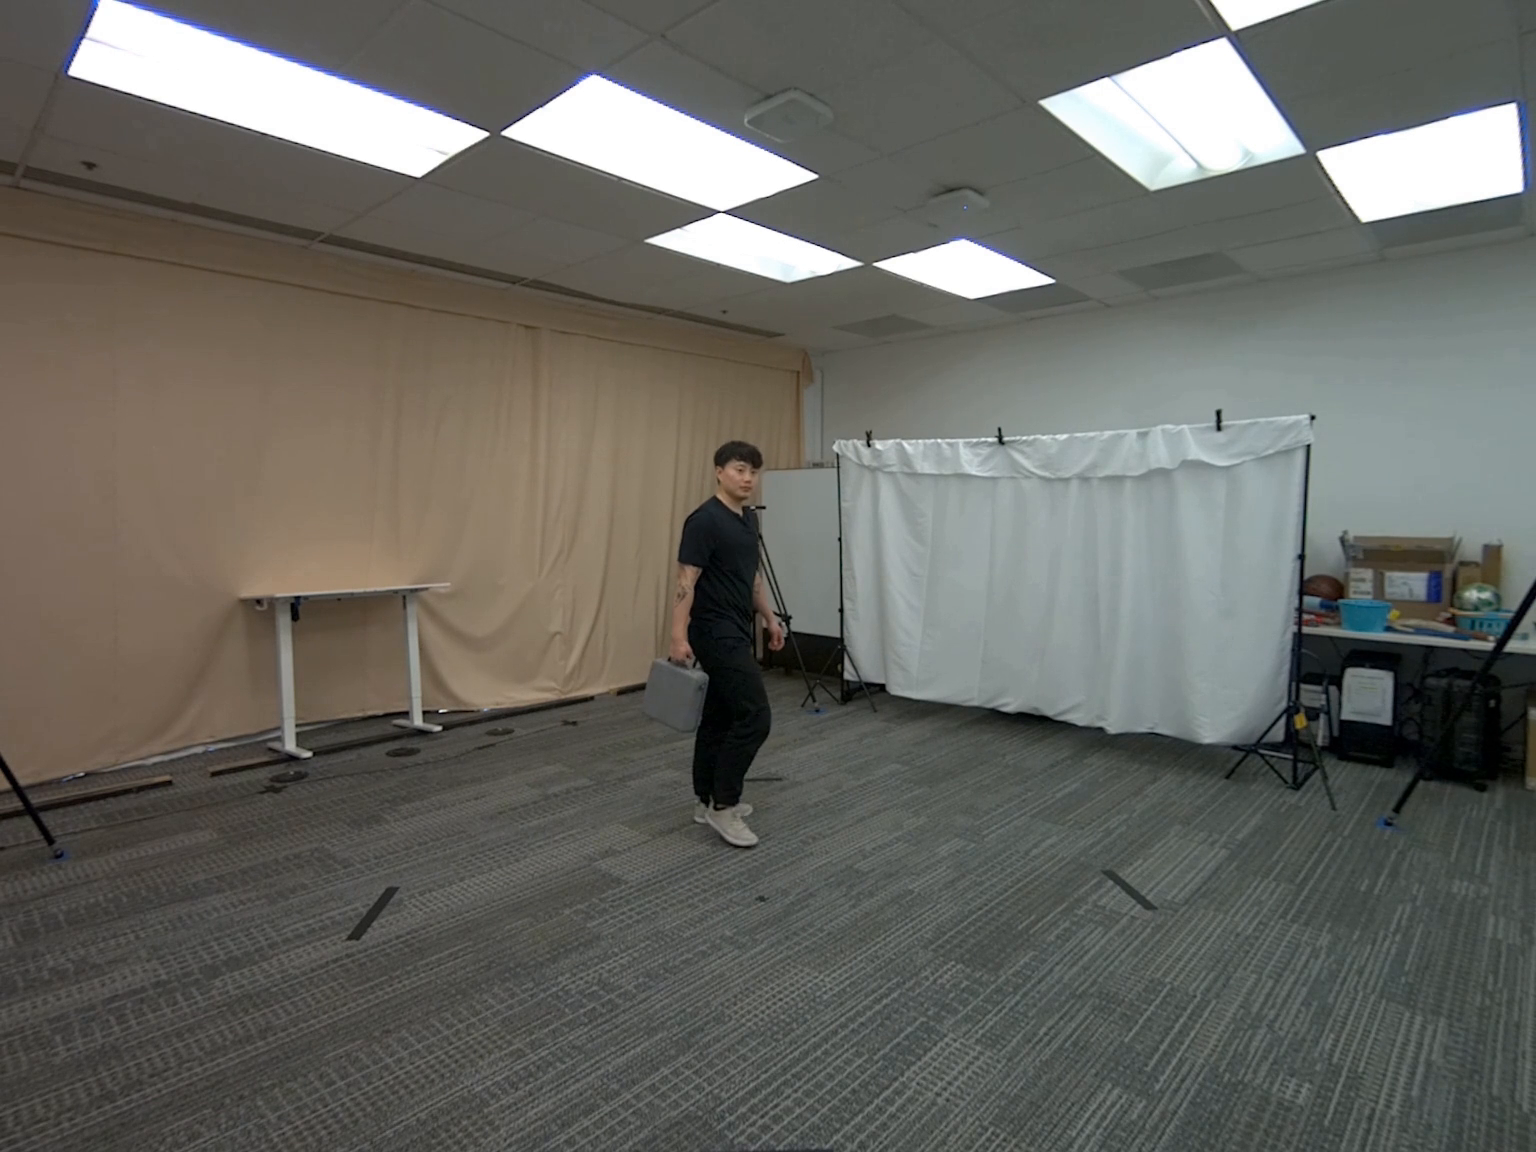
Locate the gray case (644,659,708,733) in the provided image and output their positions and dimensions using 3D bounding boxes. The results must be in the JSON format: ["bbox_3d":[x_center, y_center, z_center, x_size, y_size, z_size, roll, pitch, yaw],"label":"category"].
[{"bbox_3d":[-0.371,0.485,3.464,0.265,0.260,0.101,14,6,32],"label":"gray case"}]
